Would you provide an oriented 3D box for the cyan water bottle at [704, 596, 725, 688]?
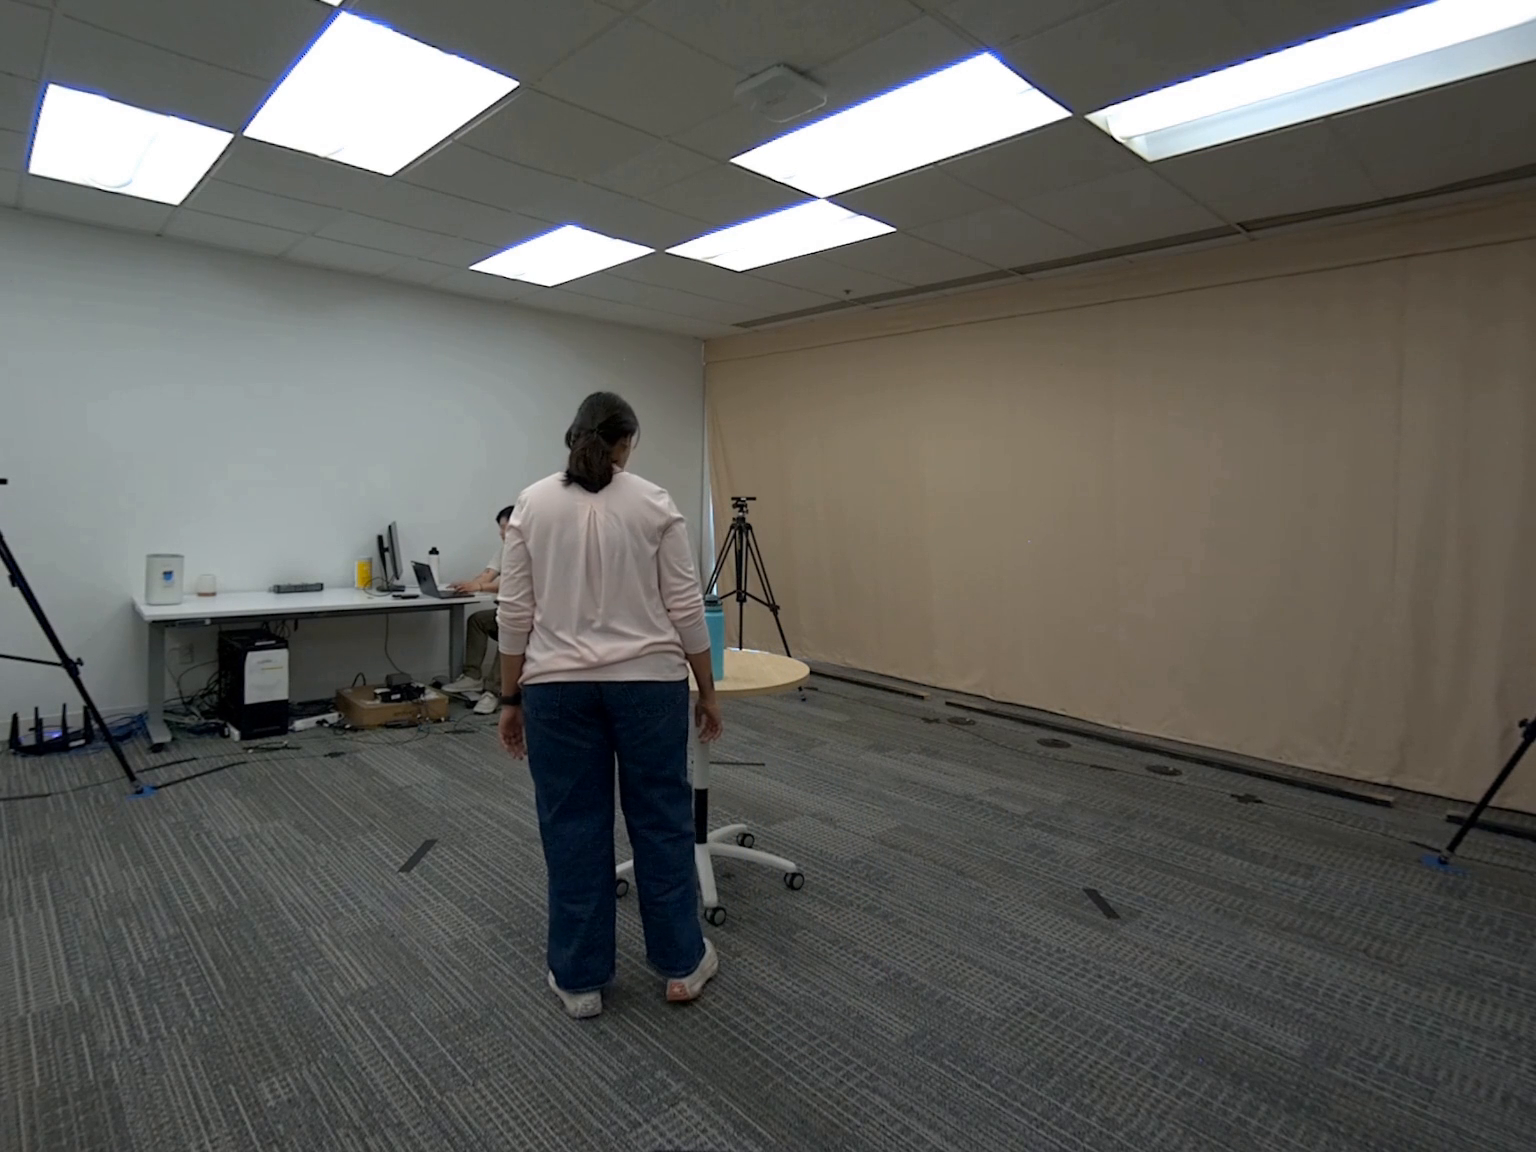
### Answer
[{"bbox_3d":[-0.199,0.209,2.827,0.092,0.283,0.092,1,2,-1],"label":"cyan water bottle"}]
